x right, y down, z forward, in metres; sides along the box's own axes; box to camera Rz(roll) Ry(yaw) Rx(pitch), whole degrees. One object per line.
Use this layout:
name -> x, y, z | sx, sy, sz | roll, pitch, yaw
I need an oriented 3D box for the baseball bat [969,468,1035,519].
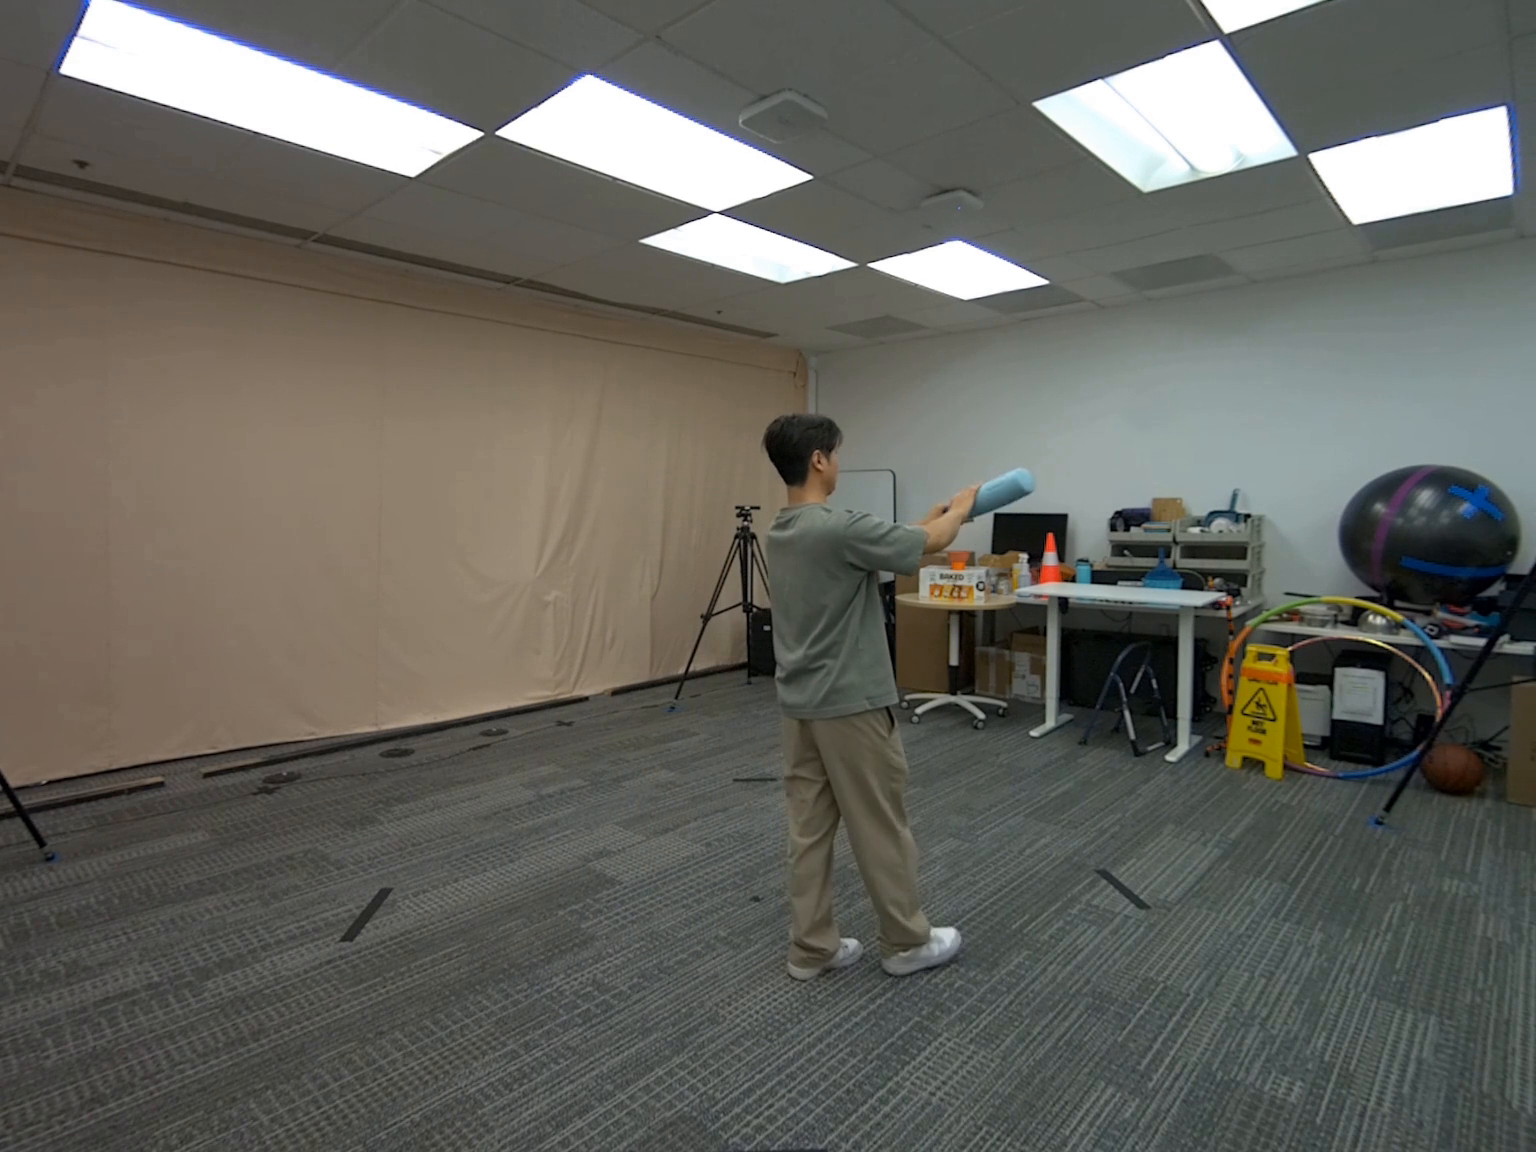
baseball bat -> 0.620, -0.202, 2.712 | 0.086, 0.090, 0.553 | -3, -17, -38
